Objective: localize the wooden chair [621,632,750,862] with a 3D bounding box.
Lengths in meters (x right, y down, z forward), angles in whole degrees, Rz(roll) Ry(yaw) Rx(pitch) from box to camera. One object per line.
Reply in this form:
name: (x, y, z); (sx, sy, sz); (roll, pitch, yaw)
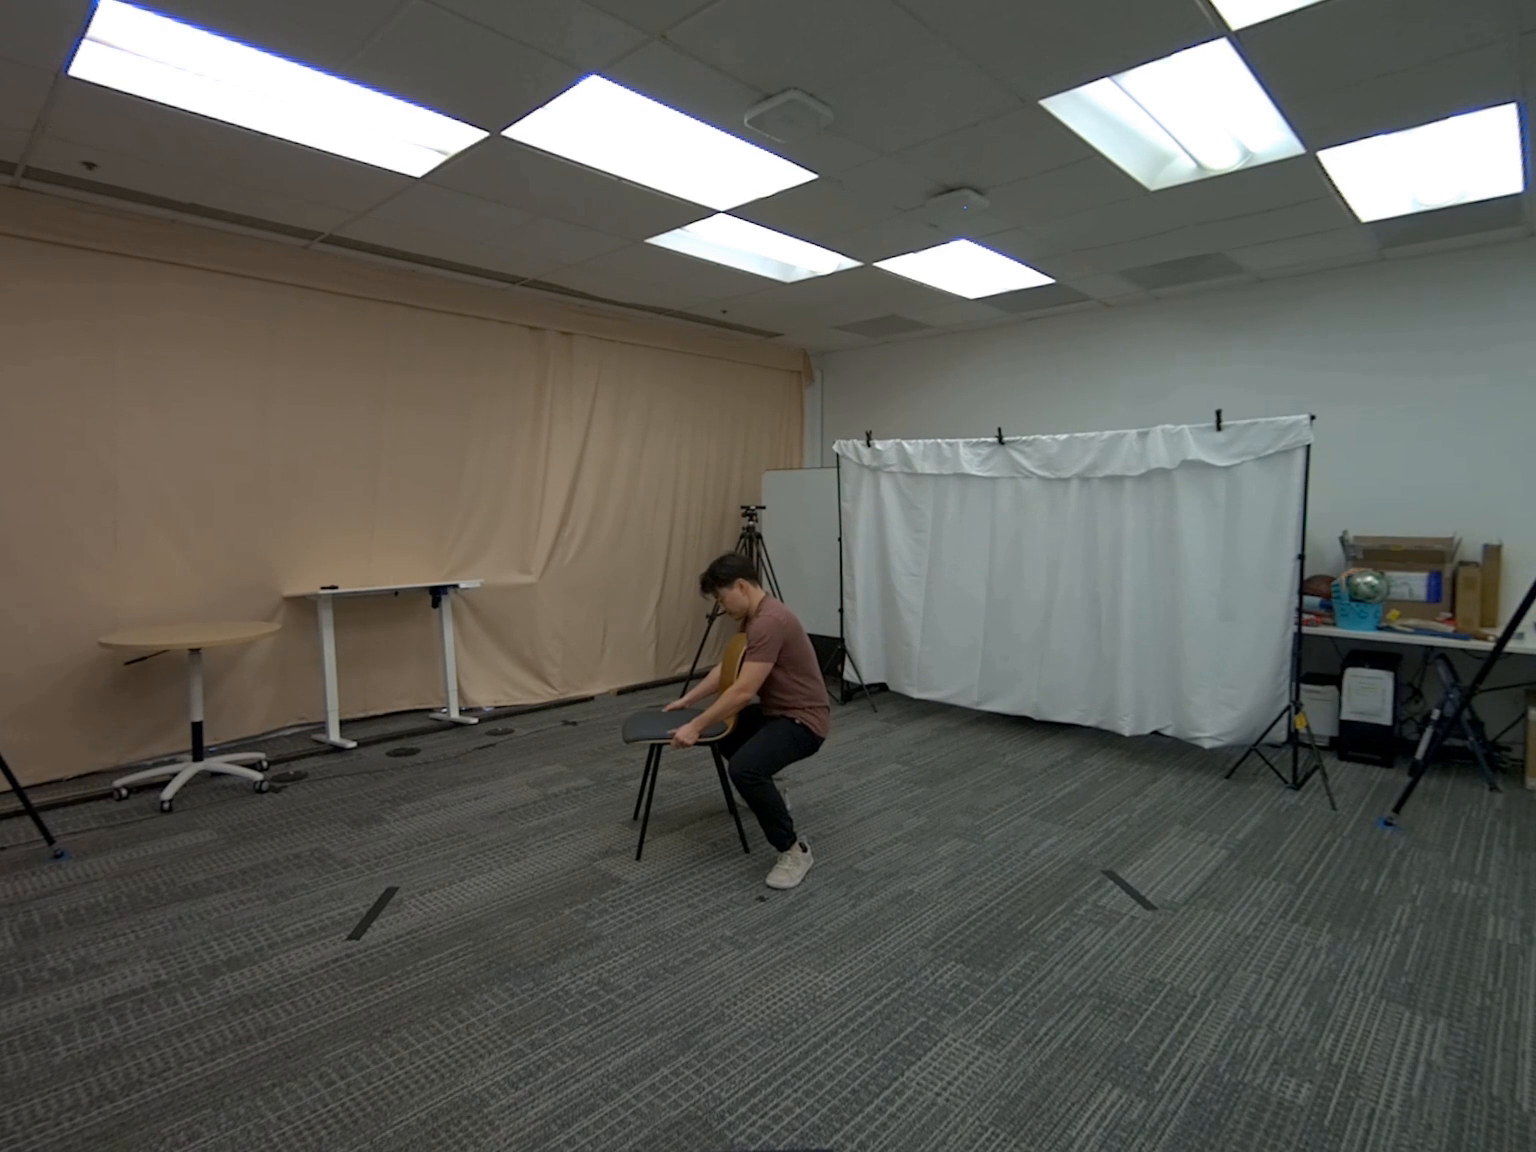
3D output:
wooden chair: (-0.359, 0.676, 3.523); (0.518, 0.876, 0.483); (3, 3, -9)
